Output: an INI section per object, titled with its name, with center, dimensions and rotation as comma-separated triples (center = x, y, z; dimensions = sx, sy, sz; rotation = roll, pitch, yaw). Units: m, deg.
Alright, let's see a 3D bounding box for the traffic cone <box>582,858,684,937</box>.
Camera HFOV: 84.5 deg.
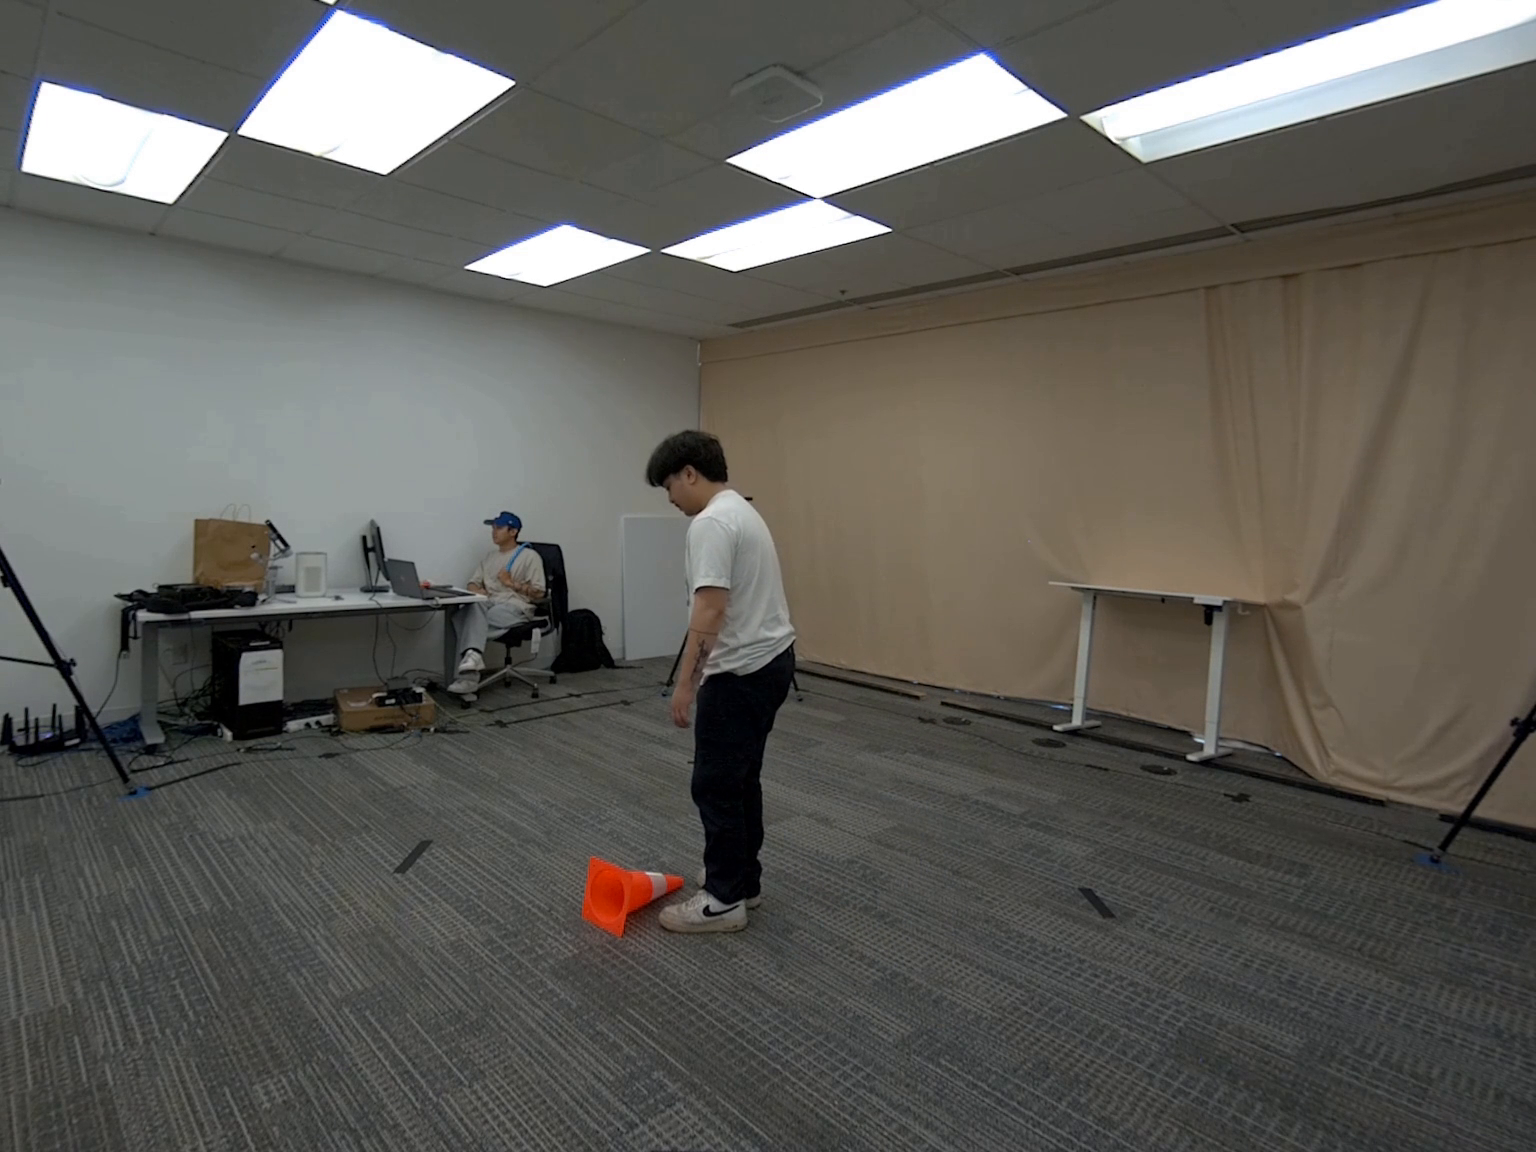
[traffic cone]
center = -0.426, 1.069, 2.874
dimensions = 0.210, 0.204, 0.373
rotation = 5, -7, 35
